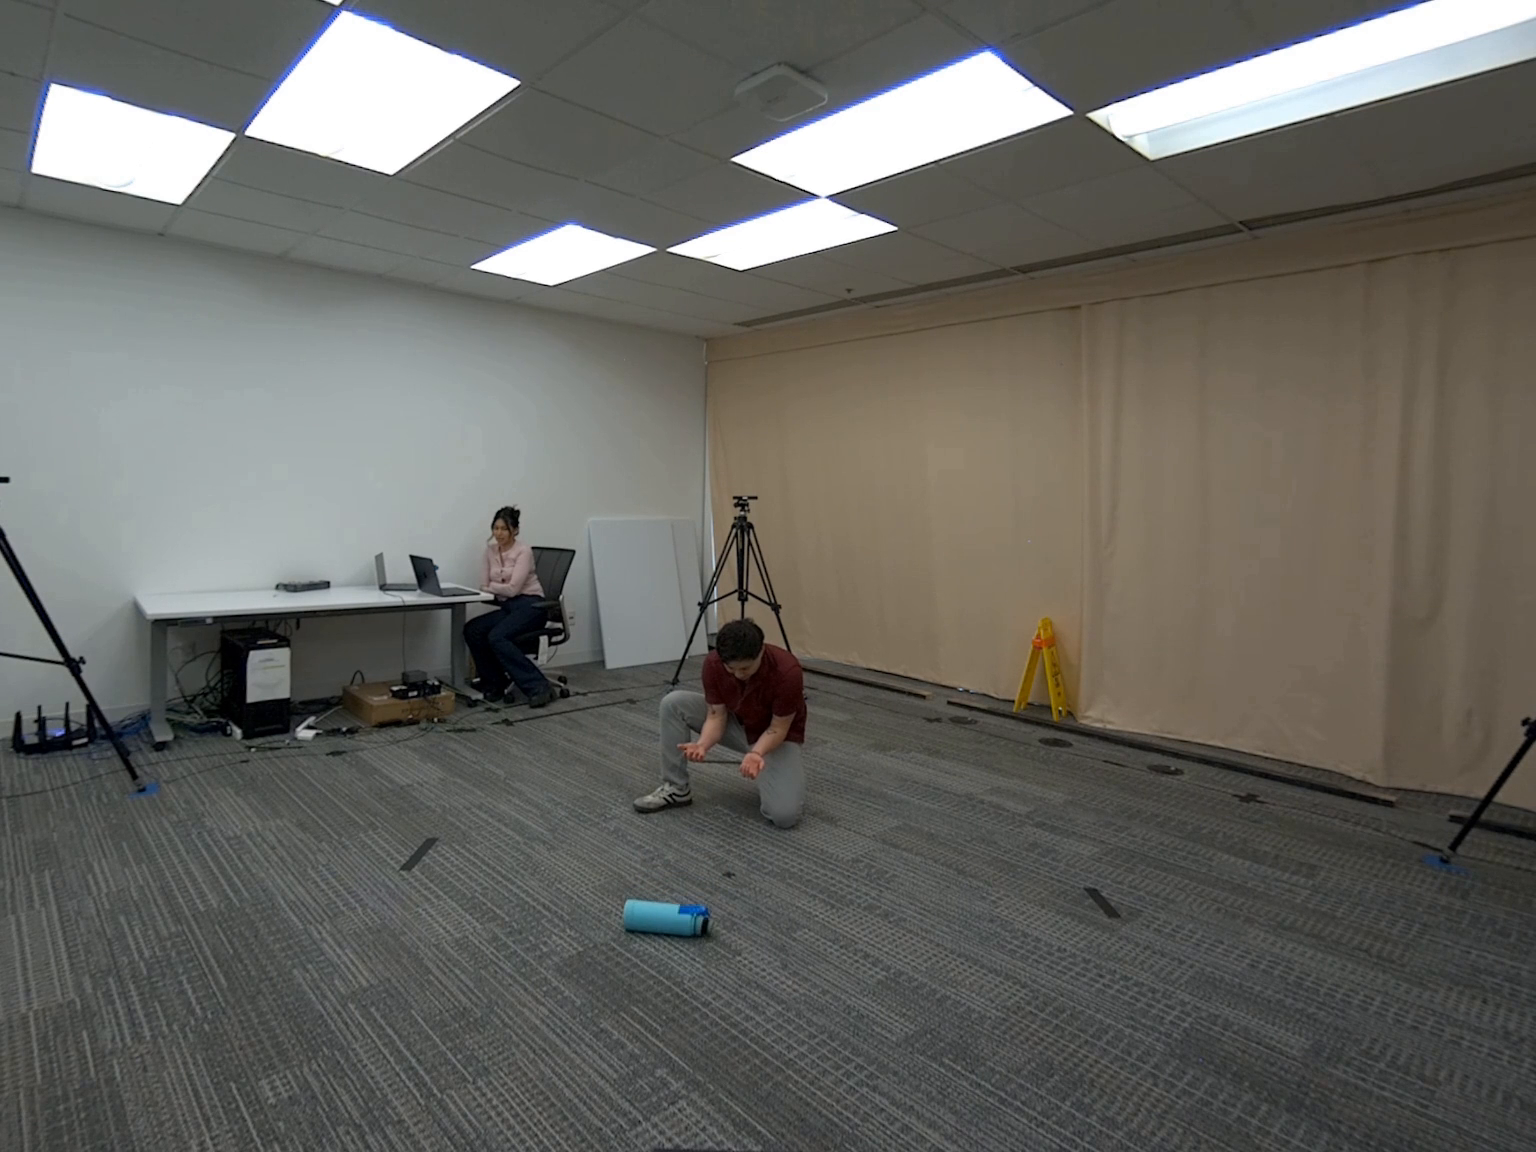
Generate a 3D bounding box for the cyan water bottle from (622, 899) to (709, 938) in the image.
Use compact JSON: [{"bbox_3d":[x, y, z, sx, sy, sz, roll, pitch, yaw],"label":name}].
[{"bbox_3d":[-0.330,1.095,2.679,0.285,0.092,0.092,4,5,9],"label":"cyan water bottle"}]
